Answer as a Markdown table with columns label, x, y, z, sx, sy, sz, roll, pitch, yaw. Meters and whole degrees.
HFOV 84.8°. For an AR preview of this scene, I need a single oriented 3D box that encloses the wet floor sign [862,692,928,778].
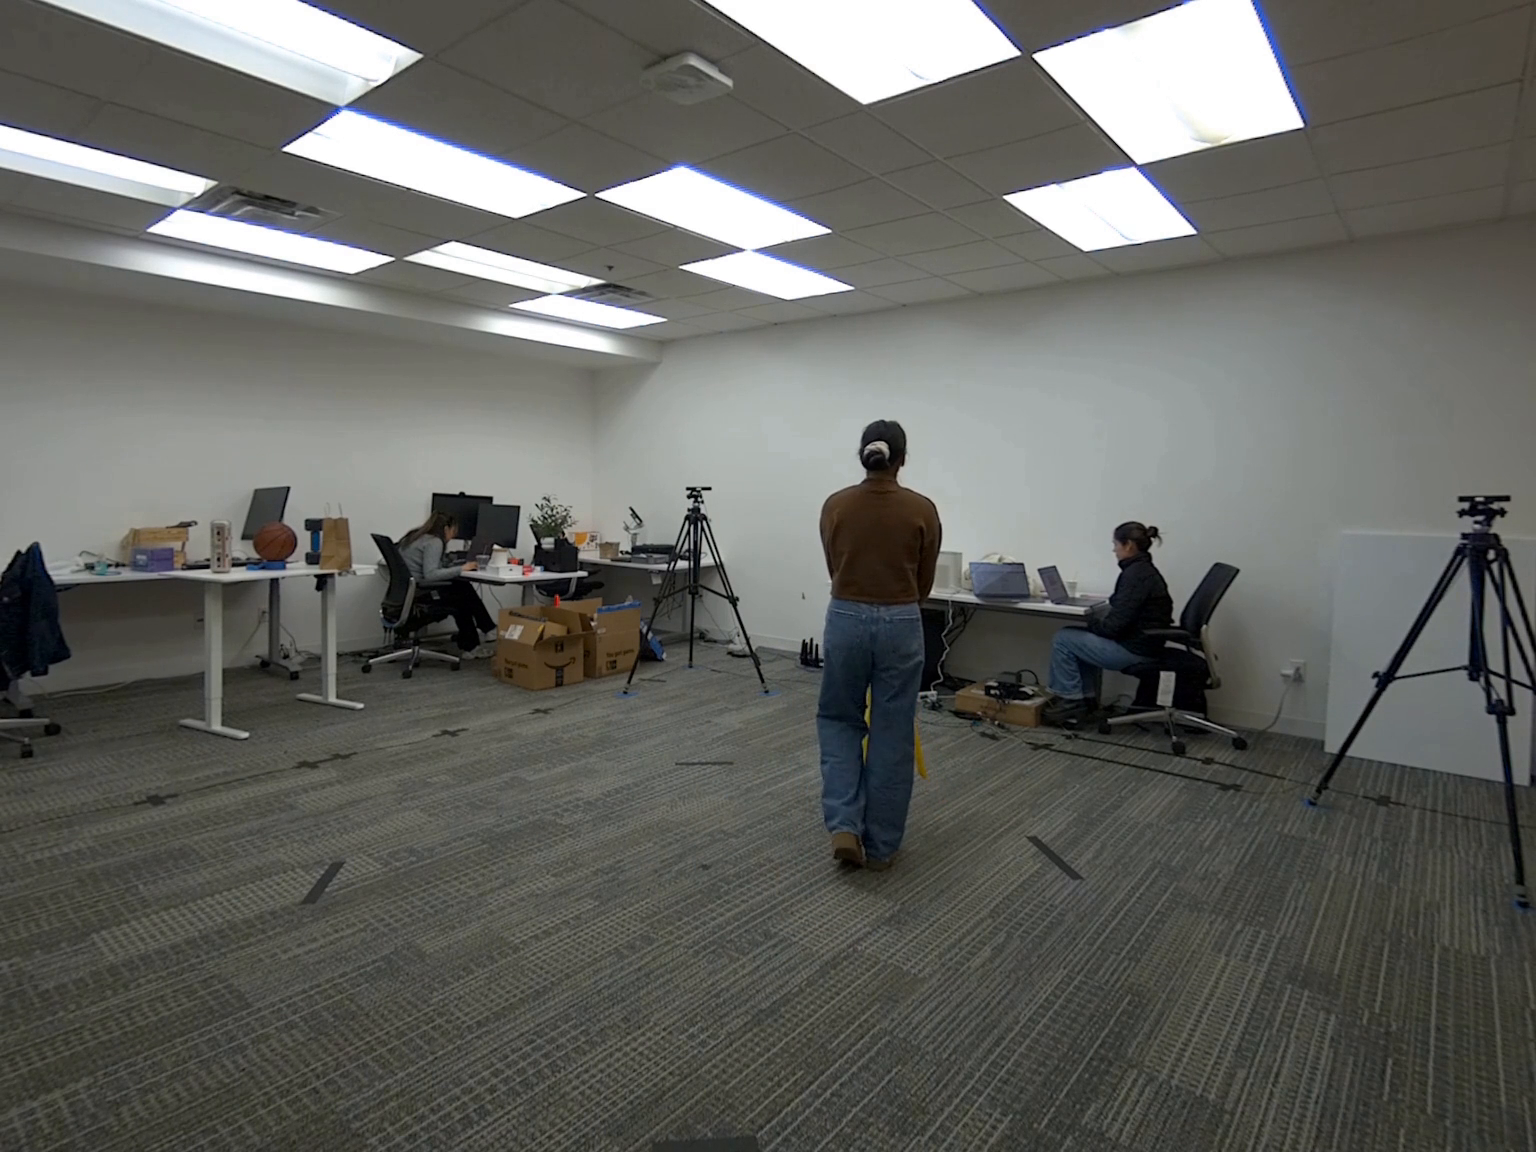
| label | x | y | z | sx | sy | sz | roll | pitch | yaw |
| --- | --- | --- | --- | --- | --- | --- | --- | --- | --- |
| wet floor sign | 0.470 | 0.482 | 3.539 | 0.288 | 0.645 | 0.285 | -2 | 1 | -7 |
